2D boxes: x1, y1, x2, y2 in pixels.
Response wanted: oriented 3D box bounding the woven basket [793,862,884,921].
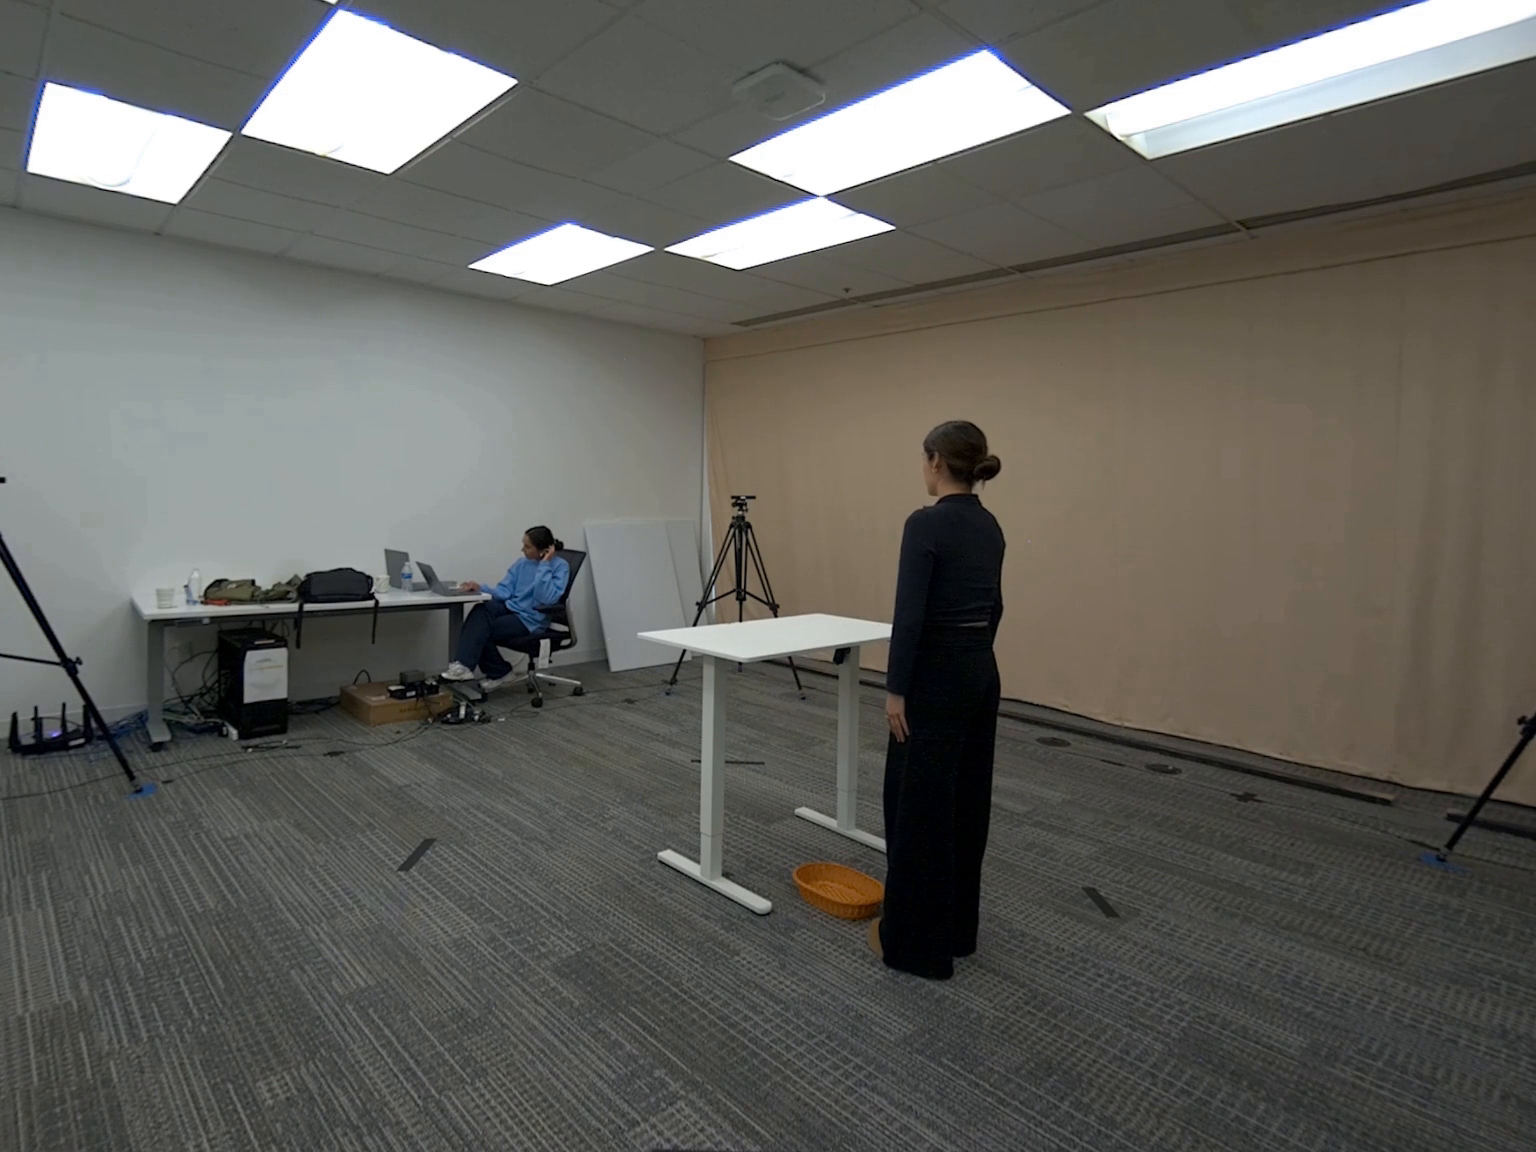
[{"bbox_3d":[0.232,1.090,2.914,0.247,0.073,0.359,-2,6,-40],"label":"woven basket"}]
